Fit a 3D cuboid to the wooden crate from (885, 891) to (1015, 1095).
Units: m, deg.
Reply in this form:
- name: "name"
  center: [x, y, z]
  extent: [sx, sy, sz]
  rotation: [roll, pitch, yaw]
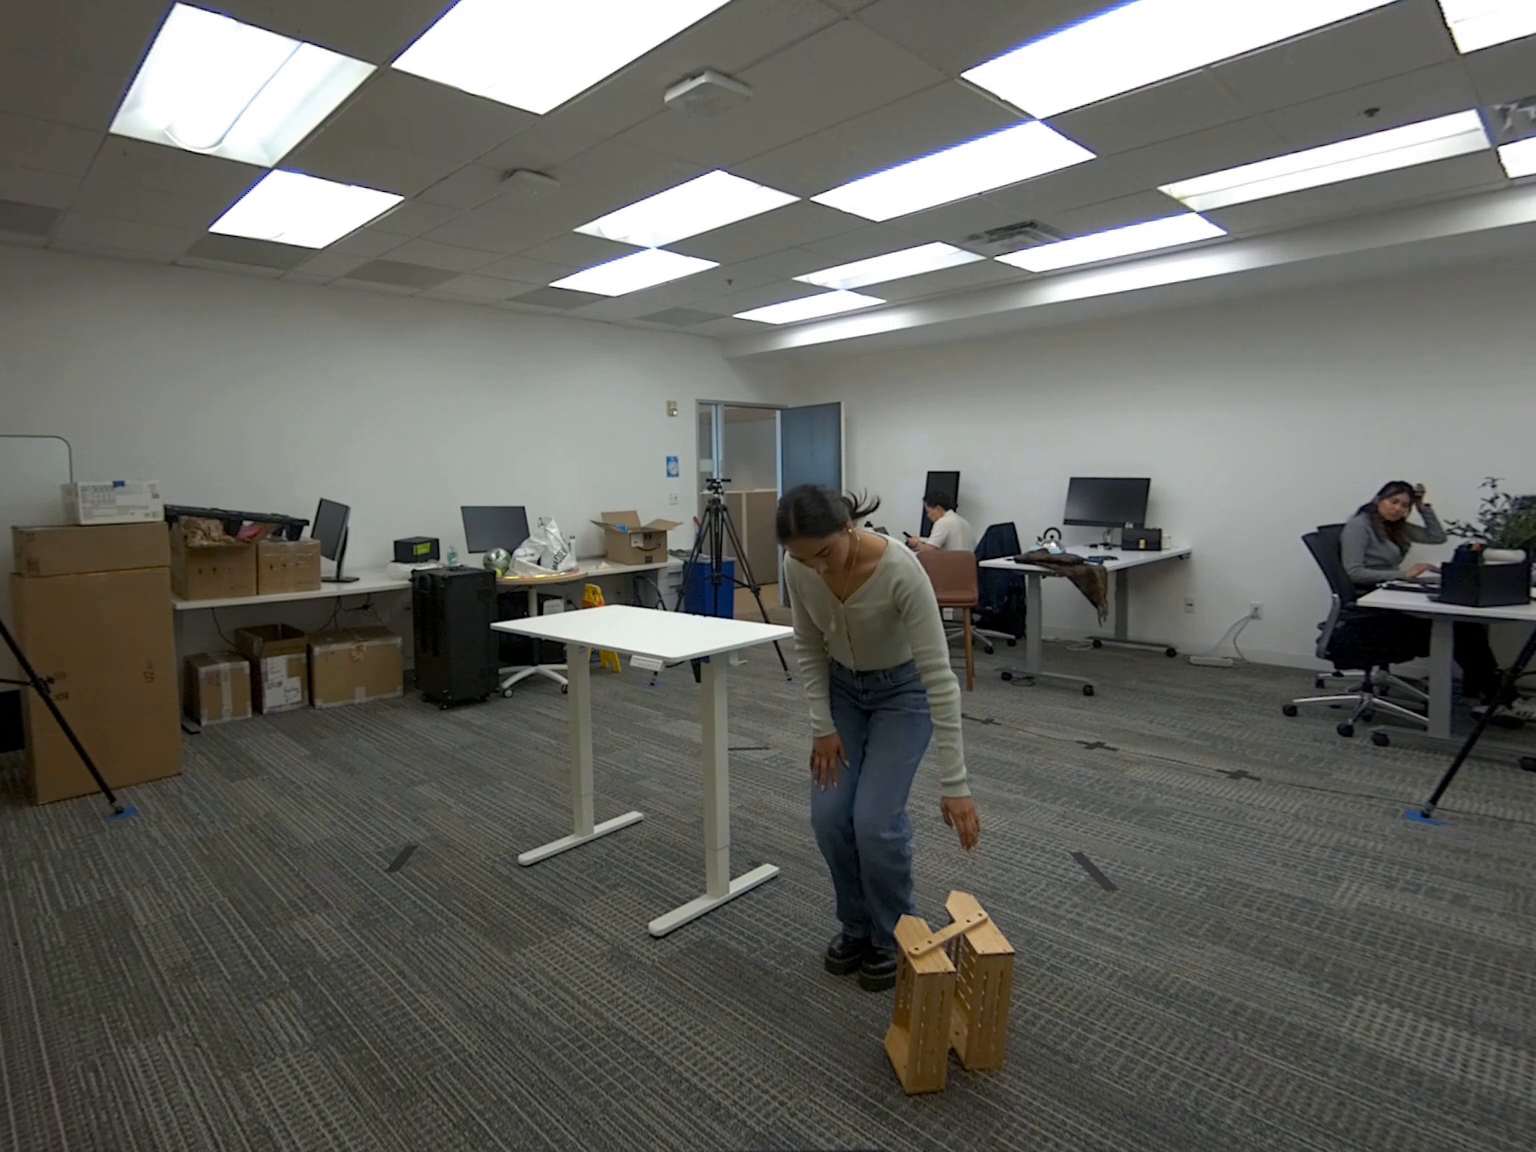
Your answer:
- name: "wooden crate"
  center: [0.422, 0.993, 2.060]
  extent: [0.270, 0.322, 0.308]
  rotation: [1, 10, -13]
